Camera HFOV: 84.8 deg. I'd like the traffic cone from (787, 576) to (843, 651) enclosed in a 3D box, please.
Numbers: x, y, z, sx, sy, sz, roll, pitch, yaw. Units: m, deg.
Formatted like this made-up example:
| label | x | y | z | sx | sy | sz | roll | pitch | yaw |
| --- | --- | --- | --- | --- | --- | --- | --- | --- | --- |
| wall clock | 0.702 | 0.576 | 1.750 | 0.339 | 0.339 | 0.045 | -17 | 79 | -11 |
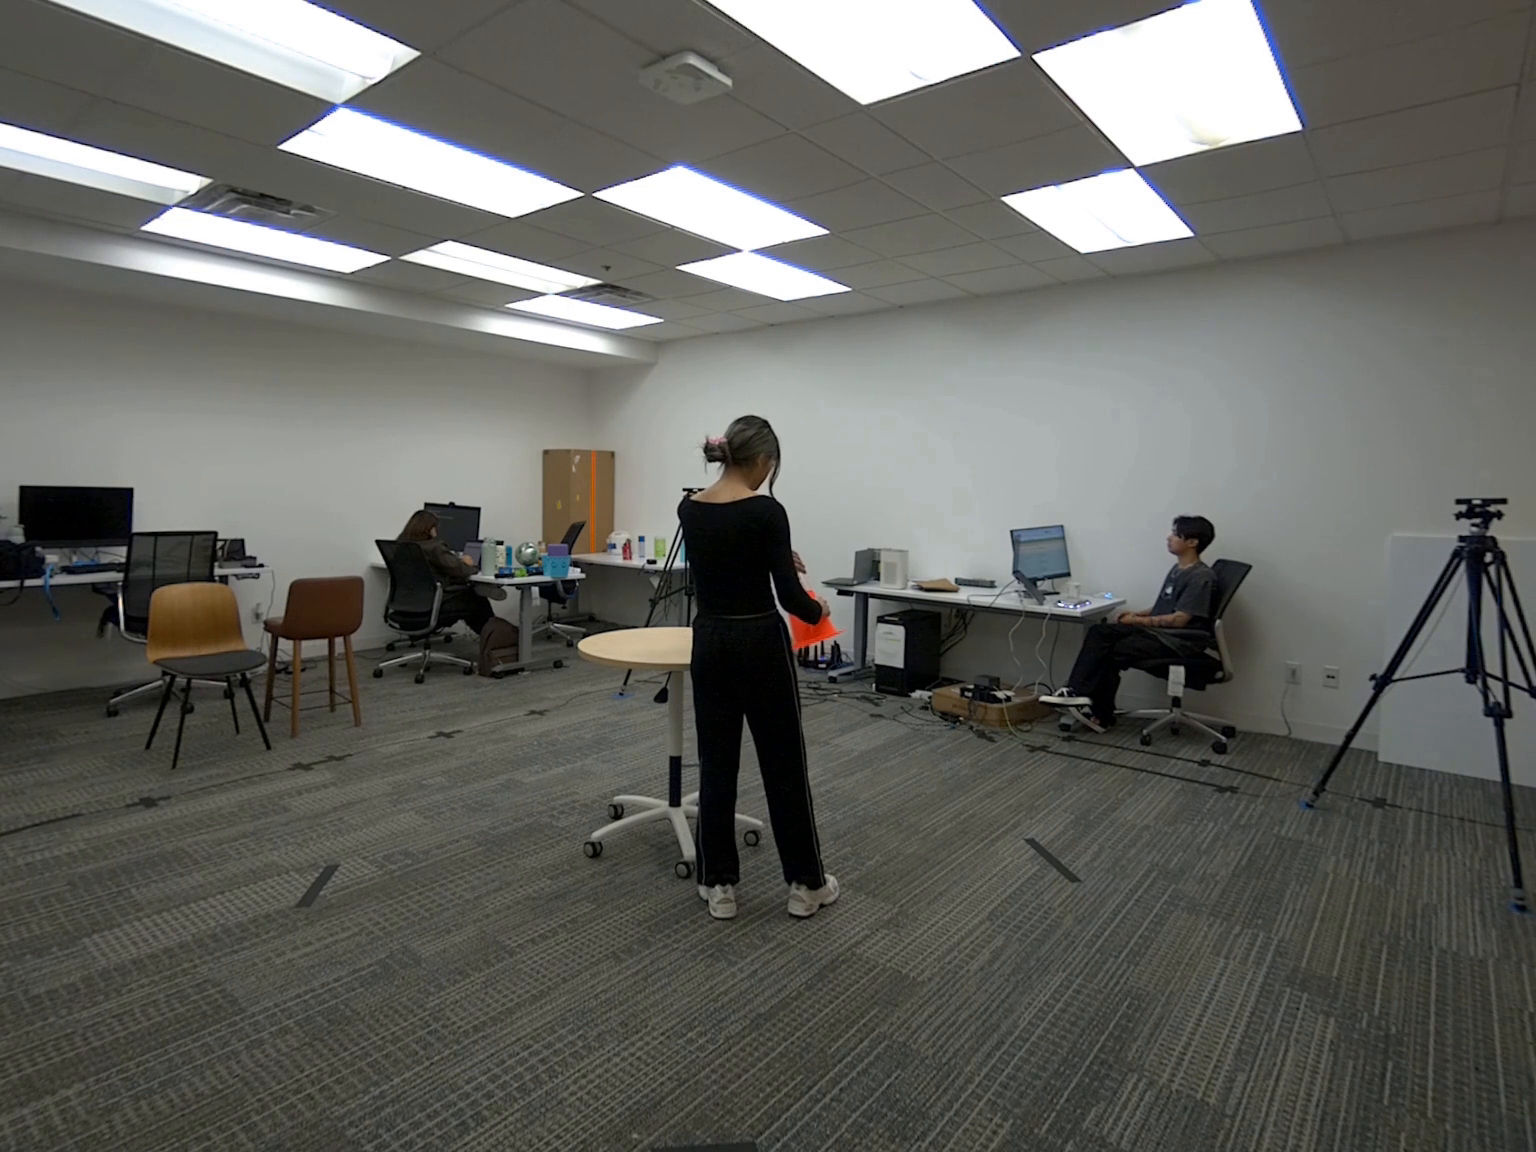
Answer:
| label | x | y | z | sx | sy | sz | roll | pitch | yaw |
| --- | --- | --- | --- | --- | --- | --- | --- | --- | --- |
| traffic cone | 0.098 | 0.048 | 3.028 | 0.203 | 0.389 | 0.203 | -16 | -11 | -15 |
